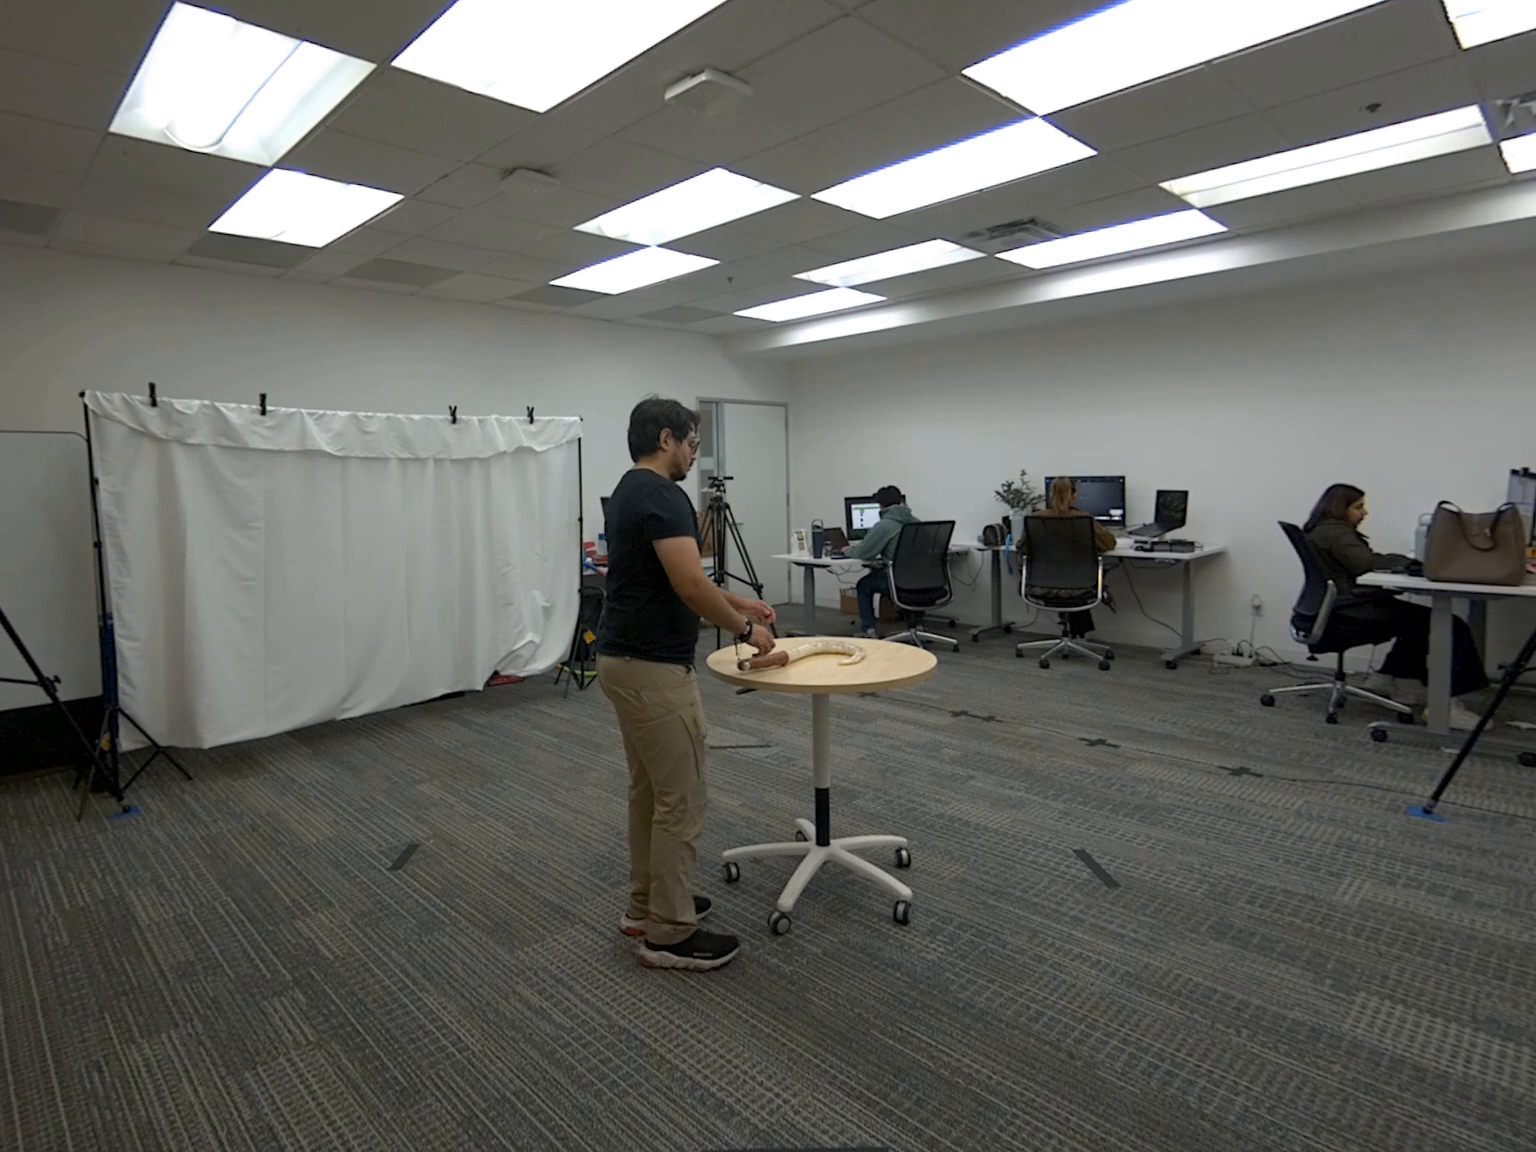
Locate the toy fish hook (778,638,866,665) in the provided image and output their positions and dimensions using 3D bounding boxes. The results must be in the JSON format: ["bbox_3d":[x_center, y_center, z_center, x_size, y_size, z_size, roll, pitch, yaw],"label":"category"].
[{"bbox_3d":[0.130,0.265,2.777,0.493,0.048,0.231,-8,7,-44],"label":"toy fish hook"}]
